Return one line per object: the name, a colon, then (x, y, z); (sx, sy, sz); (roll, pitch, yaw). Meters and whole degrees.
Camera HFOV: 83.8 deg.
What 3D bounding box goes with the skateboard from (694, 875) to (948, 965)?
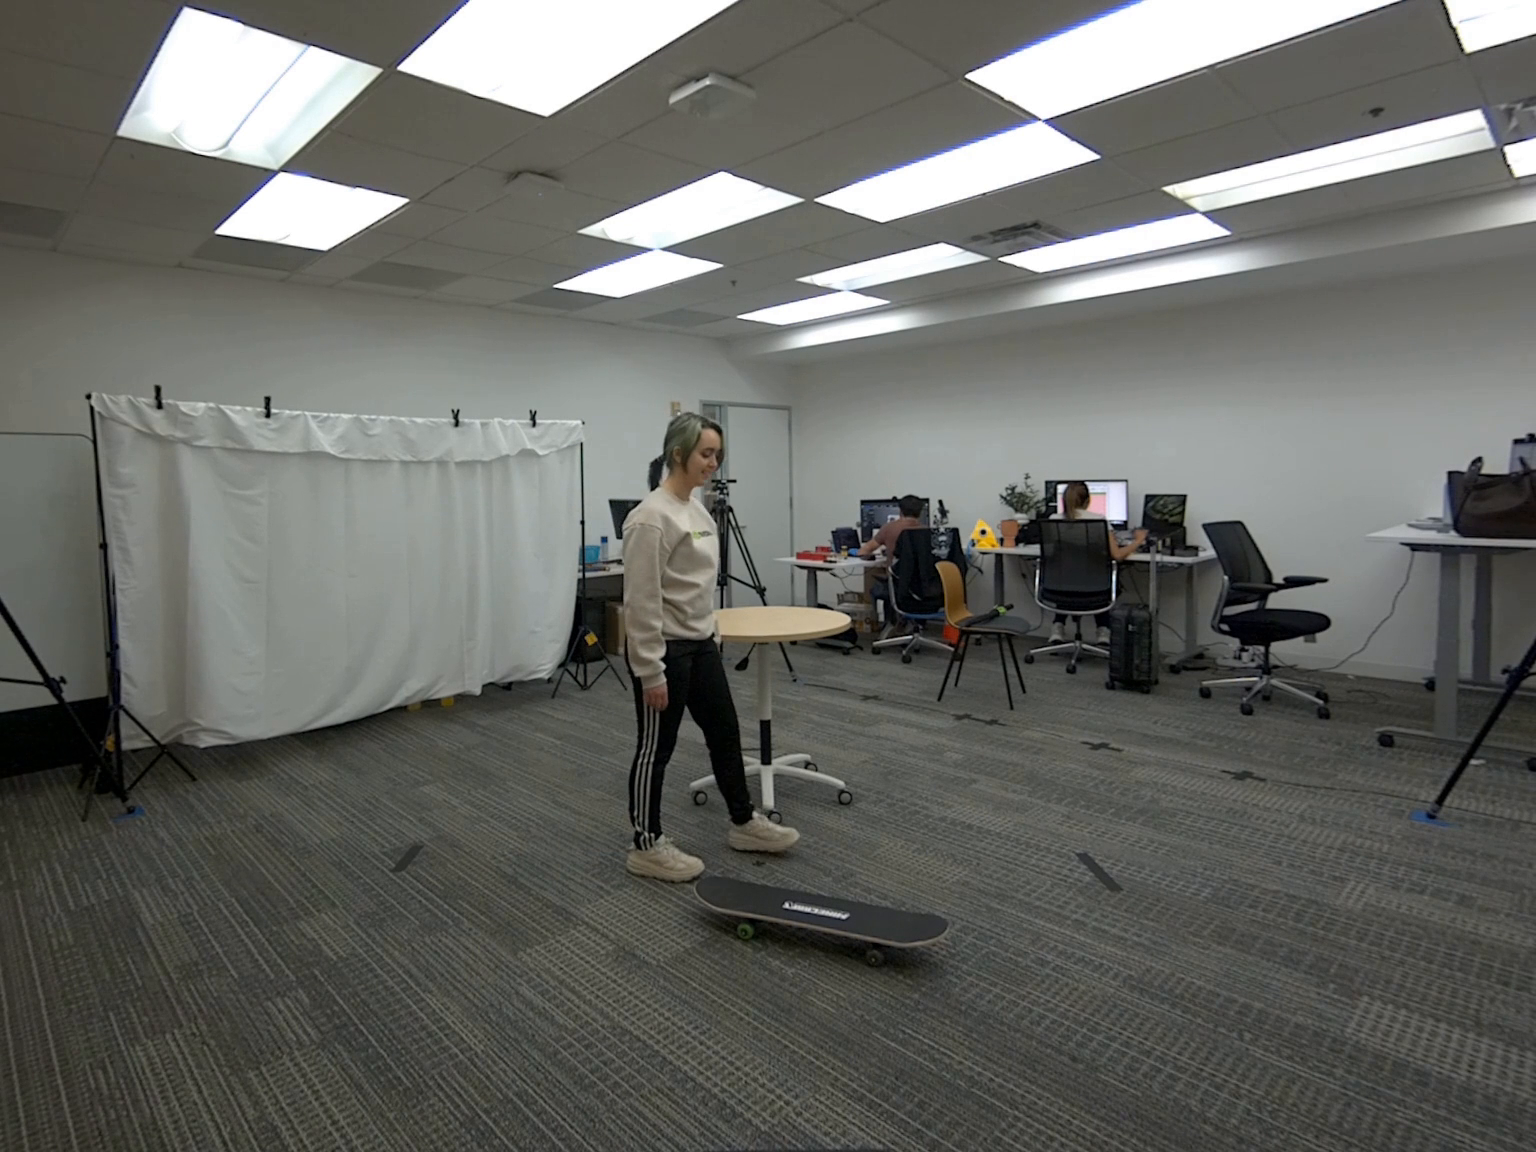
skateboard: (0.154, 1.049, 2.583); (0.802, 0.110, 0.190); (1, 6, 23)
